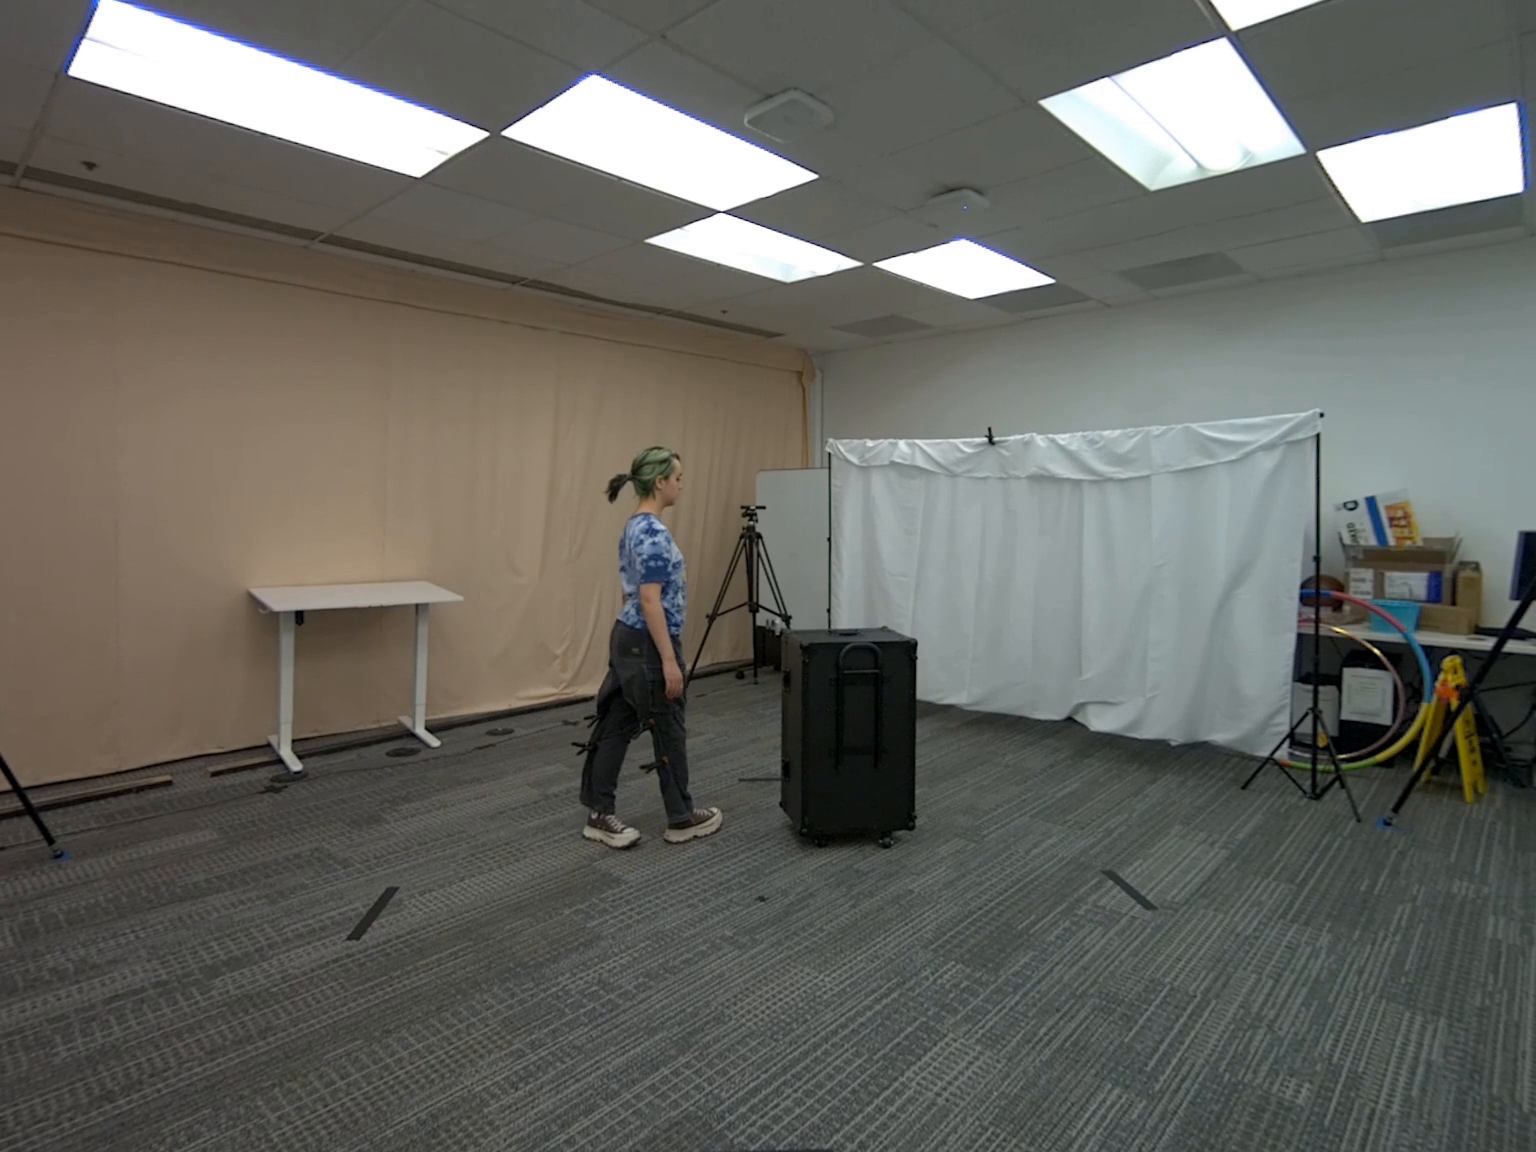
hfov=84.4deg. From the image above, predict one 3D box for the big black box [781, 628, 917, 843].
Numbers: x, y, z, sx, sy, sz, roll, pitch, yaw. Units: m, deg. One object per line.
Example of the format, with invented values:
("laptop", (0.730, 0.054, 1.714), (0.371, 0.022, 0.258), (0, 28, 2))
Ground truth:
("big black box", (0.337, 0.676, 3.540), (0.516, 0.859, 0.401), (0, 4, -9))
